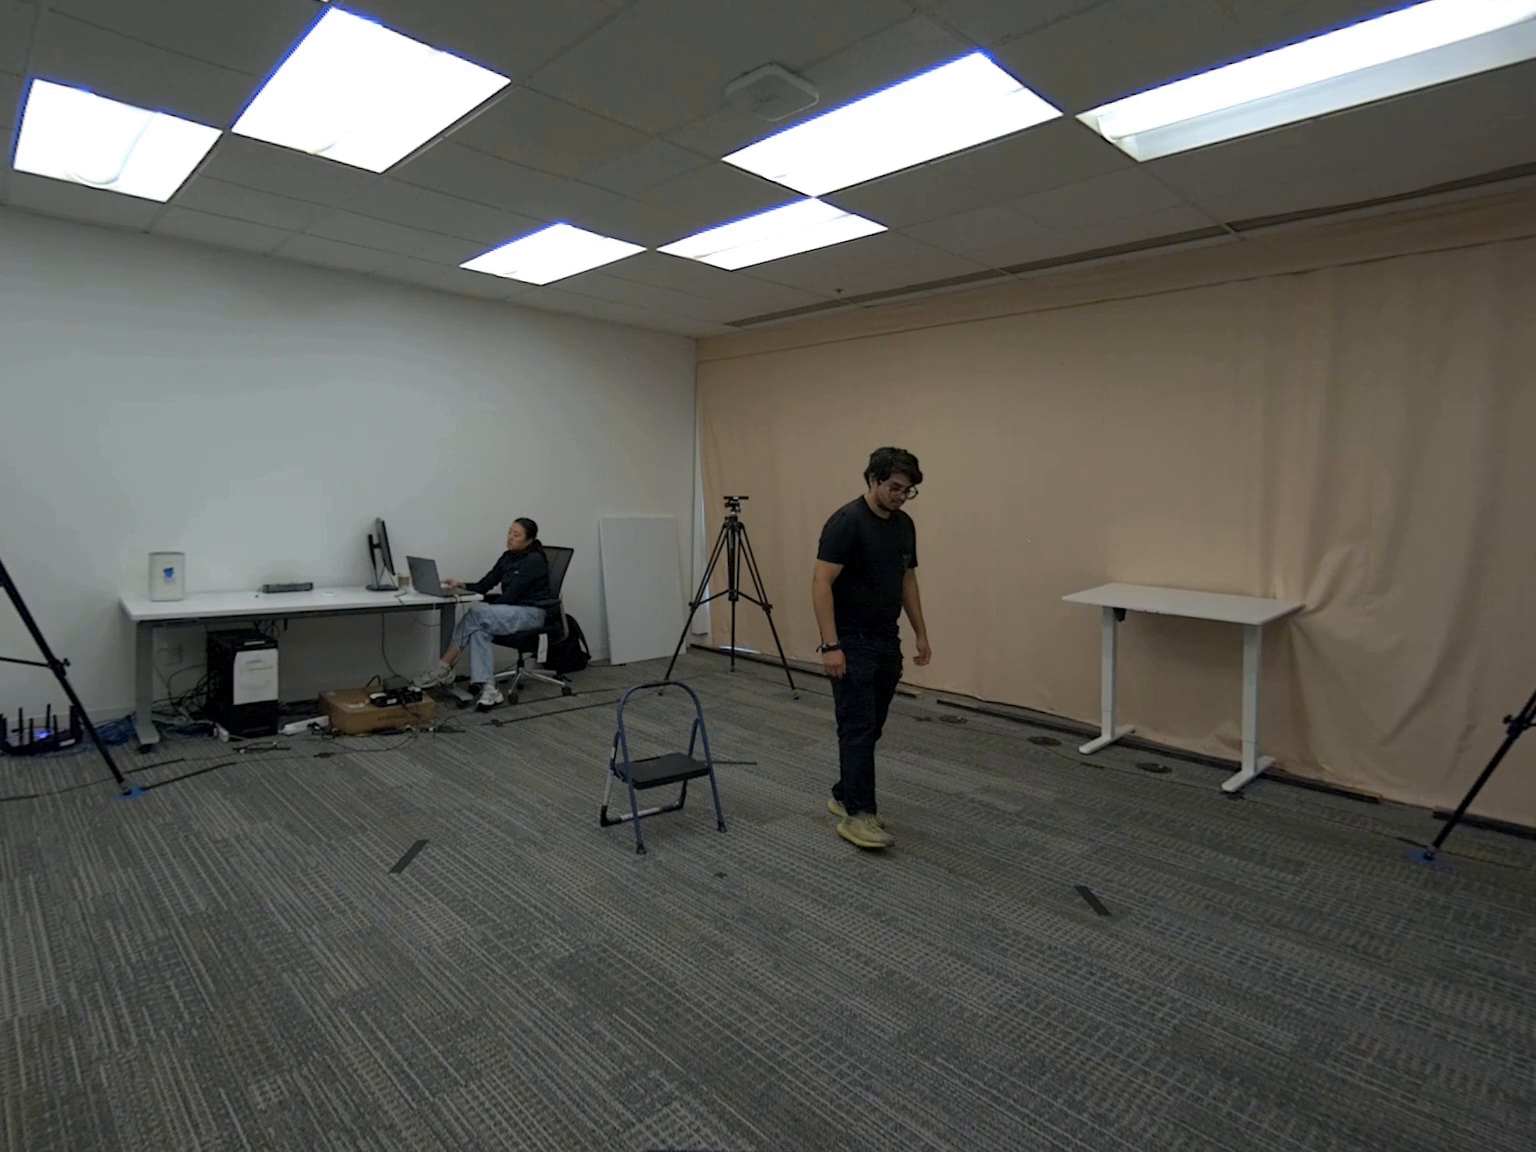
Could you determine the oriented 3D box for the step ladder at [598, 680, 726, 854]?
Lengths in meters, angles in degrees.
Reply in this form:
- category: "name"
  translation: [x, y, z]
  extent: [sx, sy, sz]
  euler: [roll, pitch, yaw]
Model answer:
- category: "step ladder"
  translation: [-0.442, 0.758, 3.515]
  extent: [0.421, 0.605, 0.358]
  euler: [-1, 4, -39]
